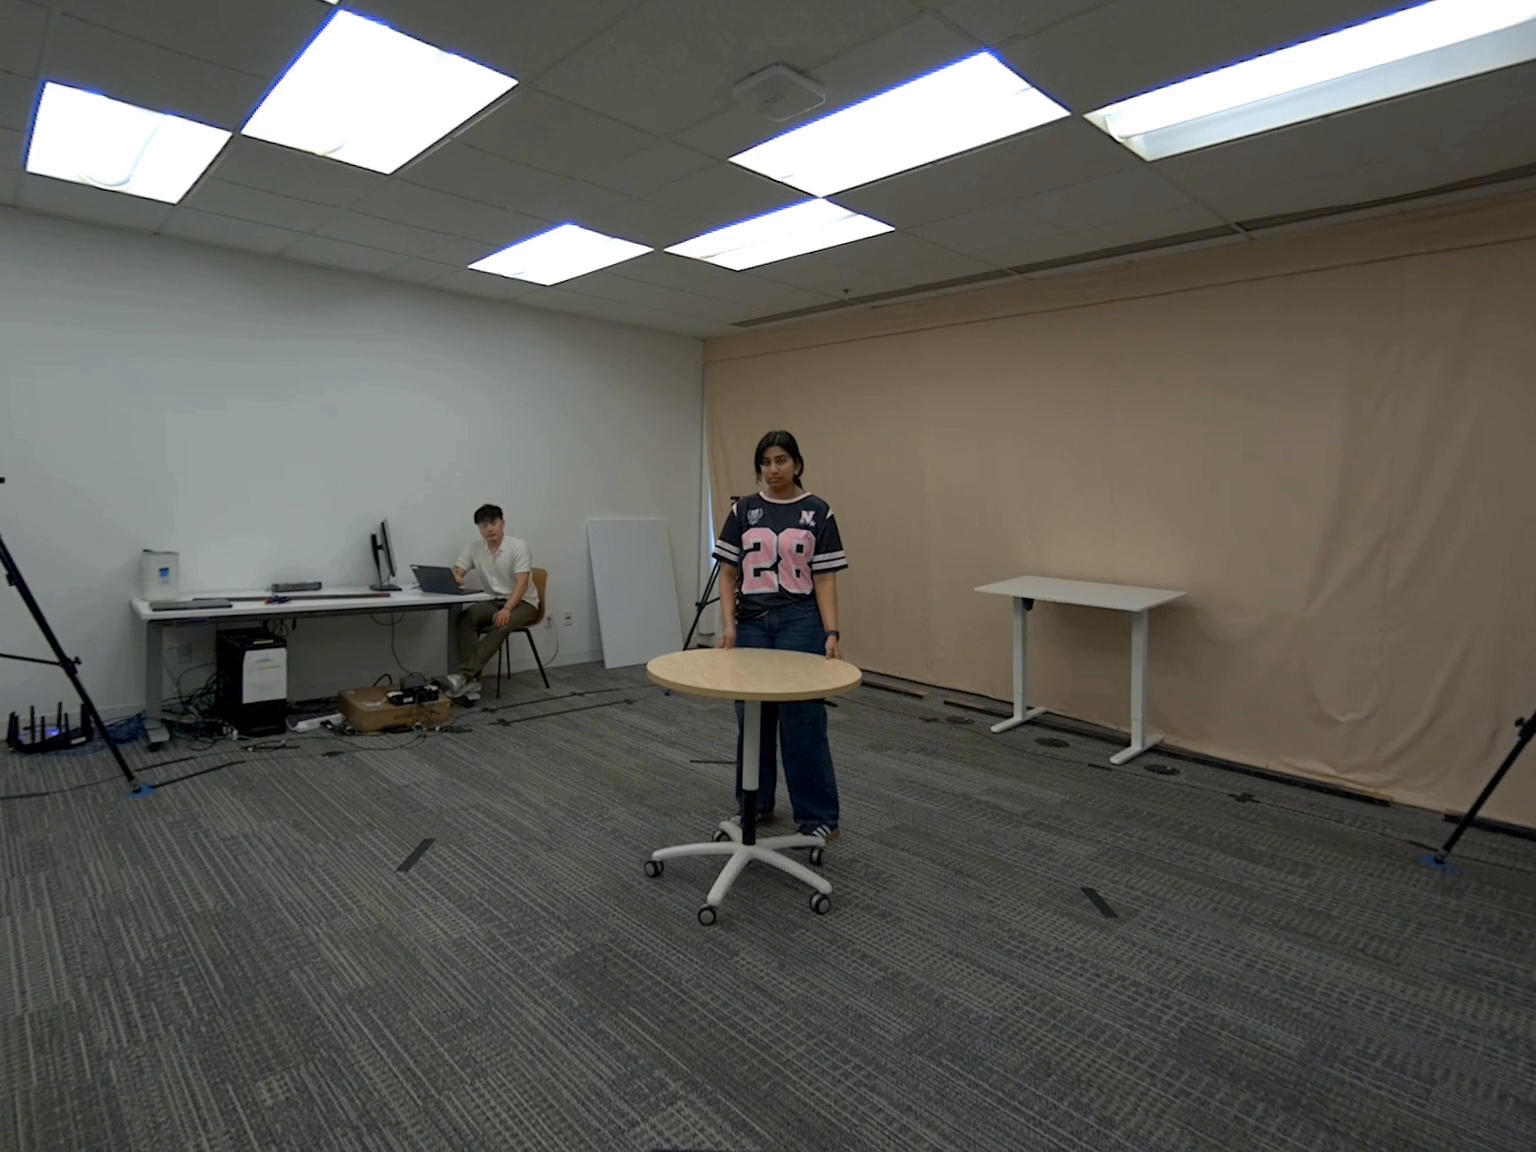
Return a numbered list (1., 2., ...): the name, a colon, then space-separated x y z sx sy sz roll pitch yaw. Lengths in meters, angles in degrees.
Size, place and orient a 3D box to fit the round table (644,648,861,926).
1. round table: -0.078 0.724 3.038 0.763 0.792 0.767 2 4 -2
